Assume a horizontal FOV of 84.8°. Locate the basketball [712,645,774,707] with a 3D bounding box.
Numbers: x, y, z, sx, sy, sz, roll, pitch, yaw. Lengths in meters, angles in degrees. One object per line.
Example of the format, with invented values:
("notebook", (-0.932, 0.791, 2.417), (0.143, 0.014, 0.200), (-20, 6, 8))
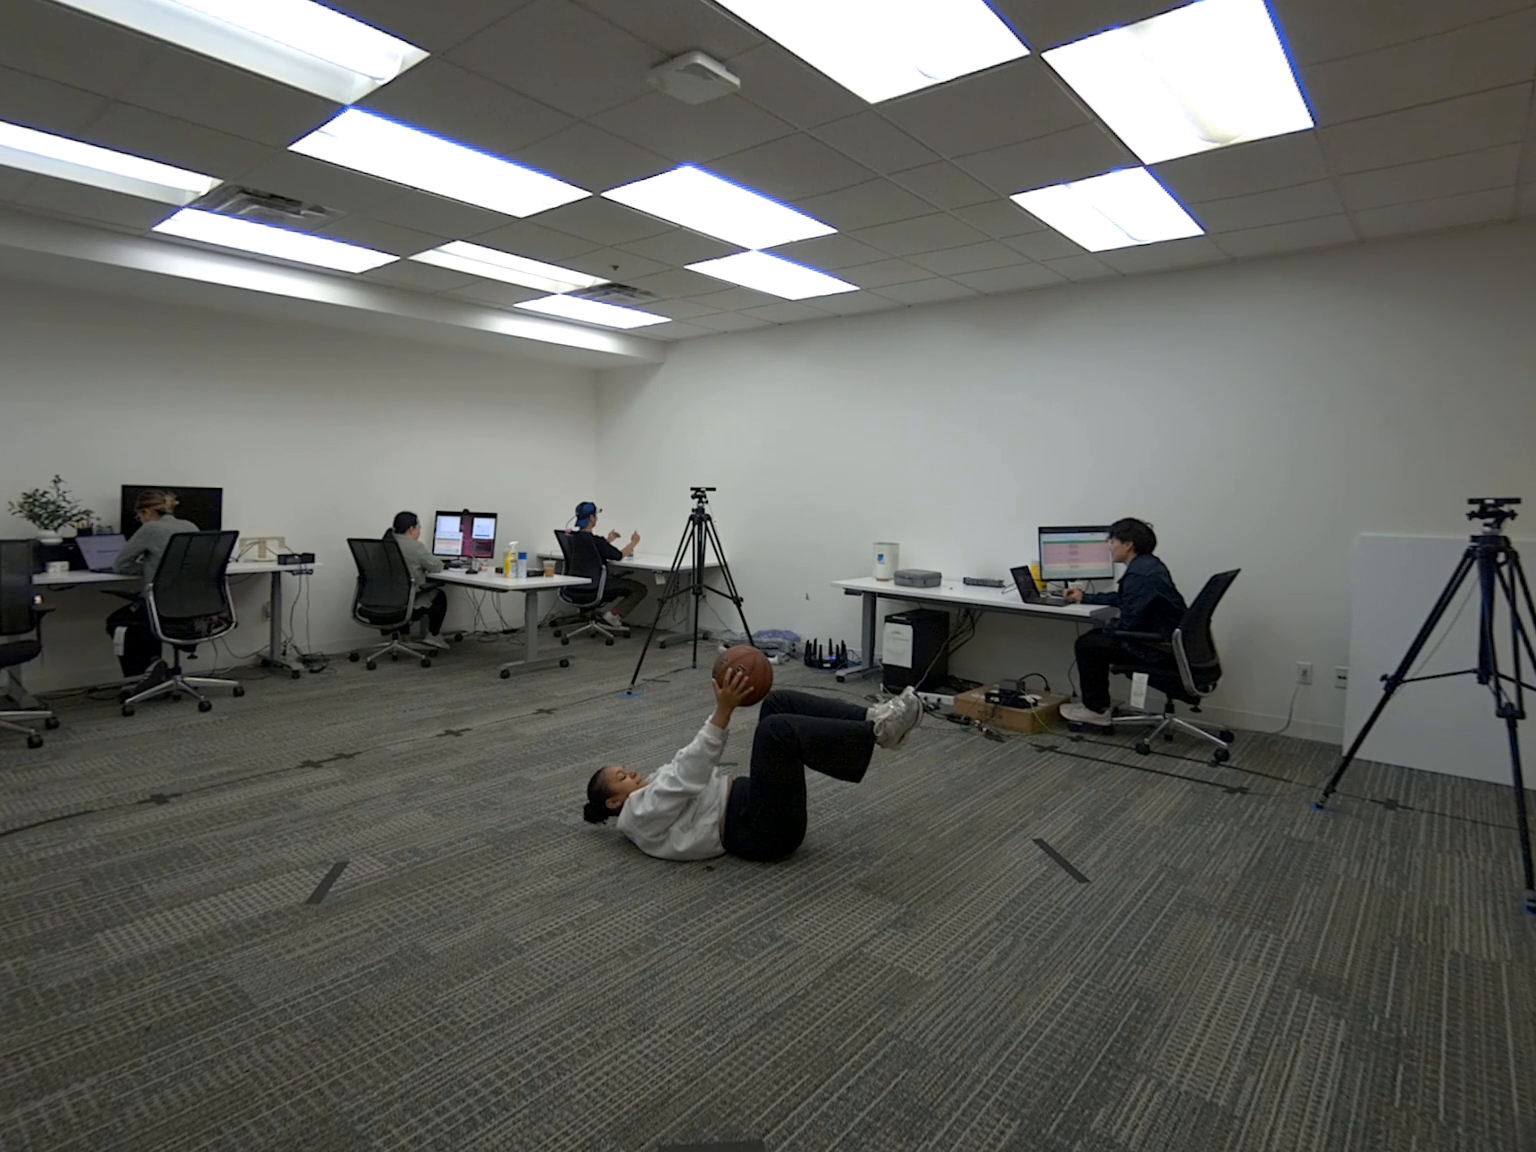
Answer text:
("basketball", (-0.120, 0.385, 3.307), (0.236, 0.235, 0.237), (0, 4, -2))
